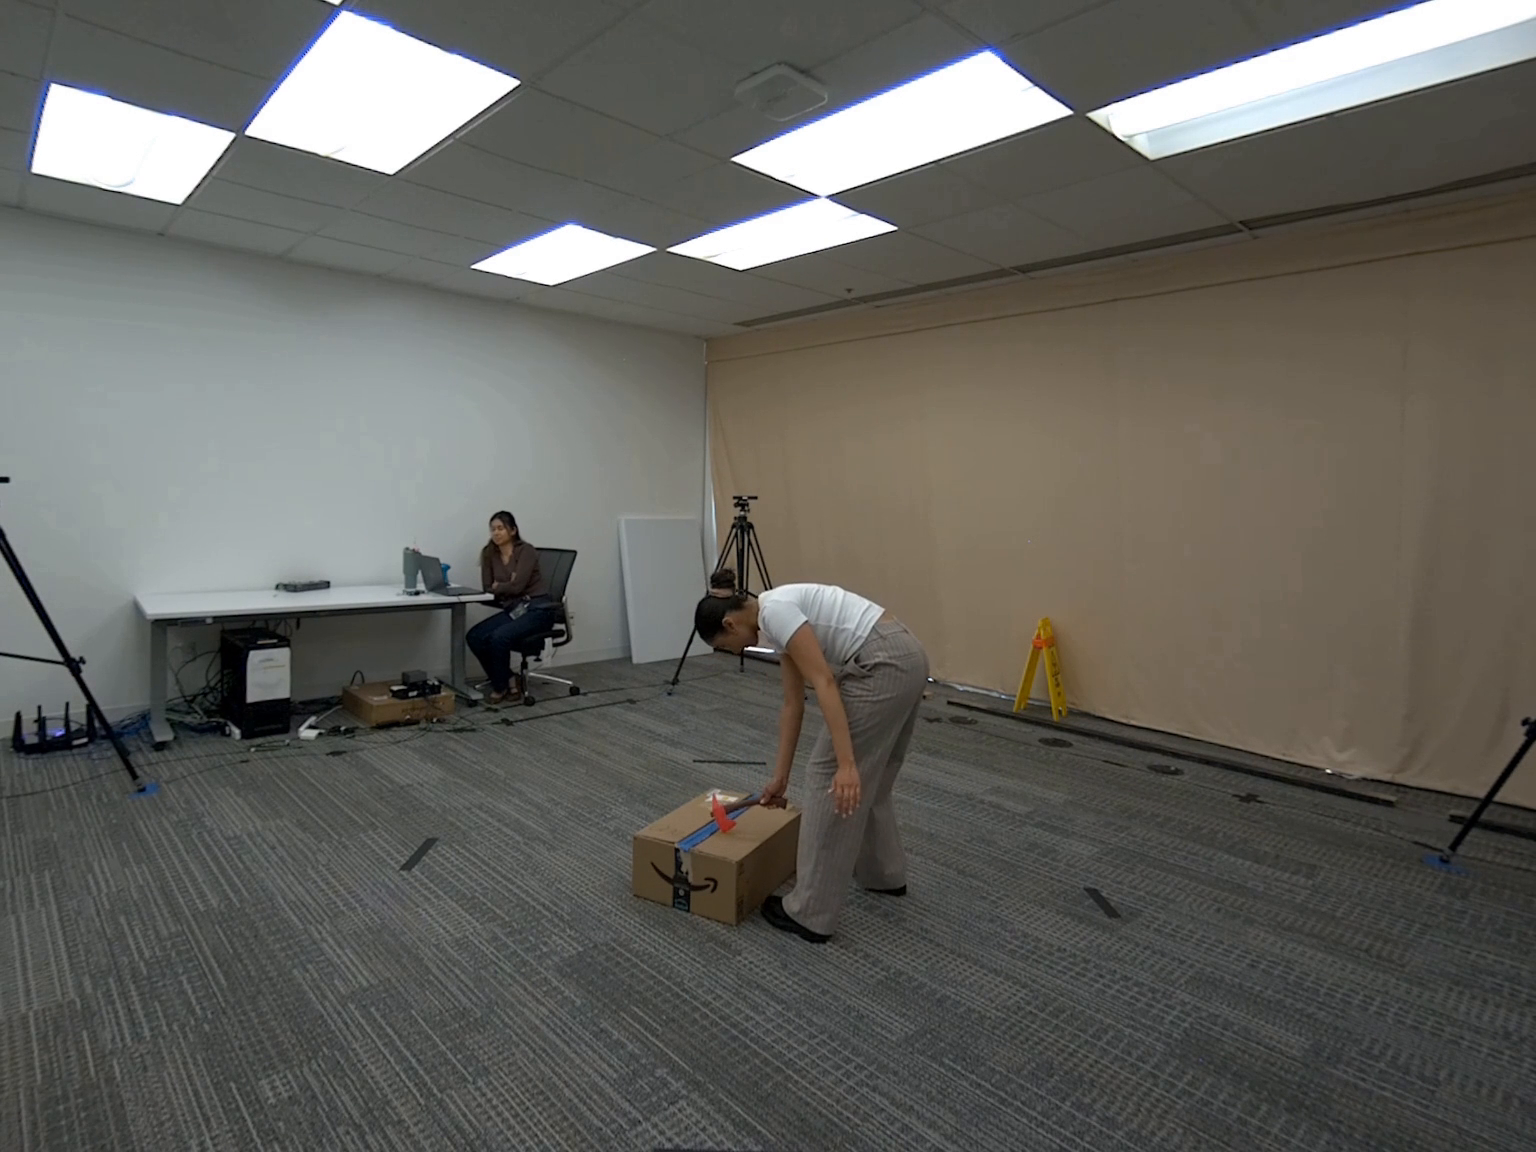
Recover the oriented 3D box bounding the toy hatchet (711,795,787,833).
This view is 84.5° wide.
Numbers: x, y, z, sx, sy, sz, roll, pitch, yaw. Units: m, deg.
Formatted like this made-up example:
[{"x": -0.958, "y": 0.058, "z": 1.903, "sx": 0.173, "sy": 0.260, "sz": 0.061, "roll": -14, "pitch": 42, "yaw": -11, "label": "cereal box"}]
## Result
[{"x": -0.068, "y": 0.834, "z": 2.951, "sx": 0.270, "sy": 0.132, "sz": 0.029, "roll": 3, "pitch": -14, "yaw": 2, "label": "toy hatchet"}]
